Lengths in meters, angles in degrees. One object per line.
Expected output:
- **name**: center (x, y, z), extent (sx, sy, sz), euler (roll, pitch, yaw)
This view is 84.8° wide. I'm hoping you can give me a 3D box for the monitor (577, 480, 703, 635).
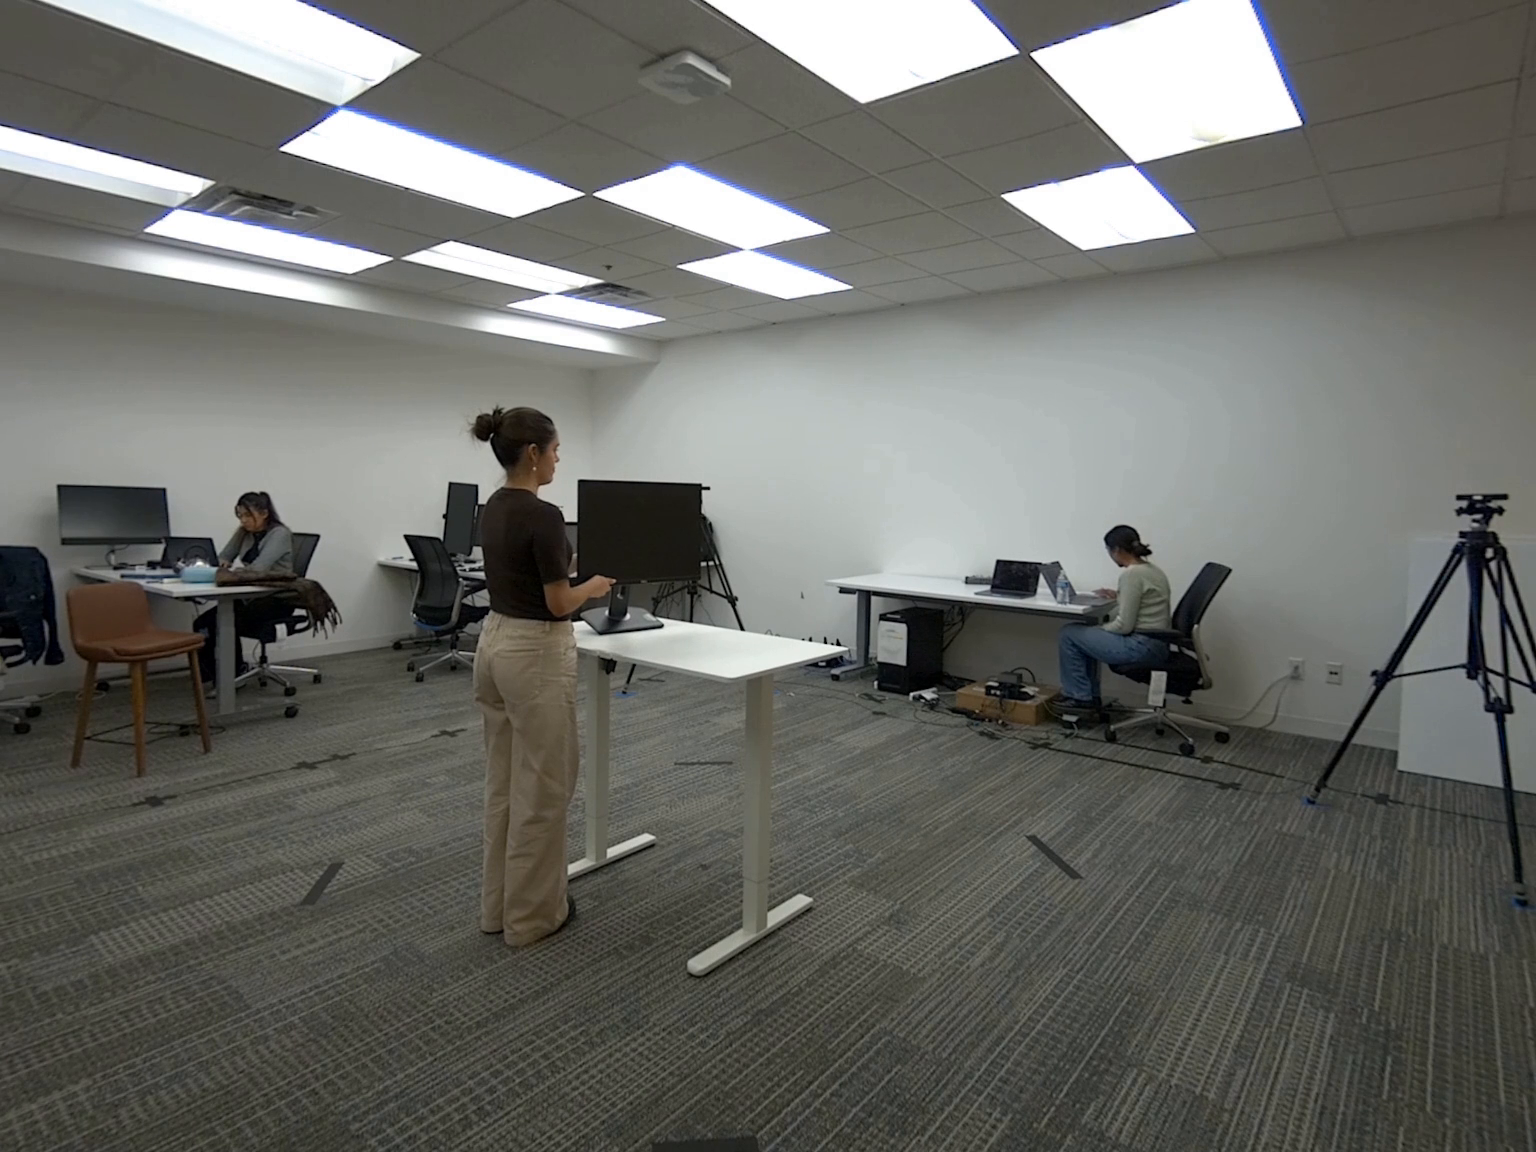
- **monitor**: center (-0.480, -0.075, 2.962), extent (0.522, 0.518, 0.195), euler (-2, 18, -46)
